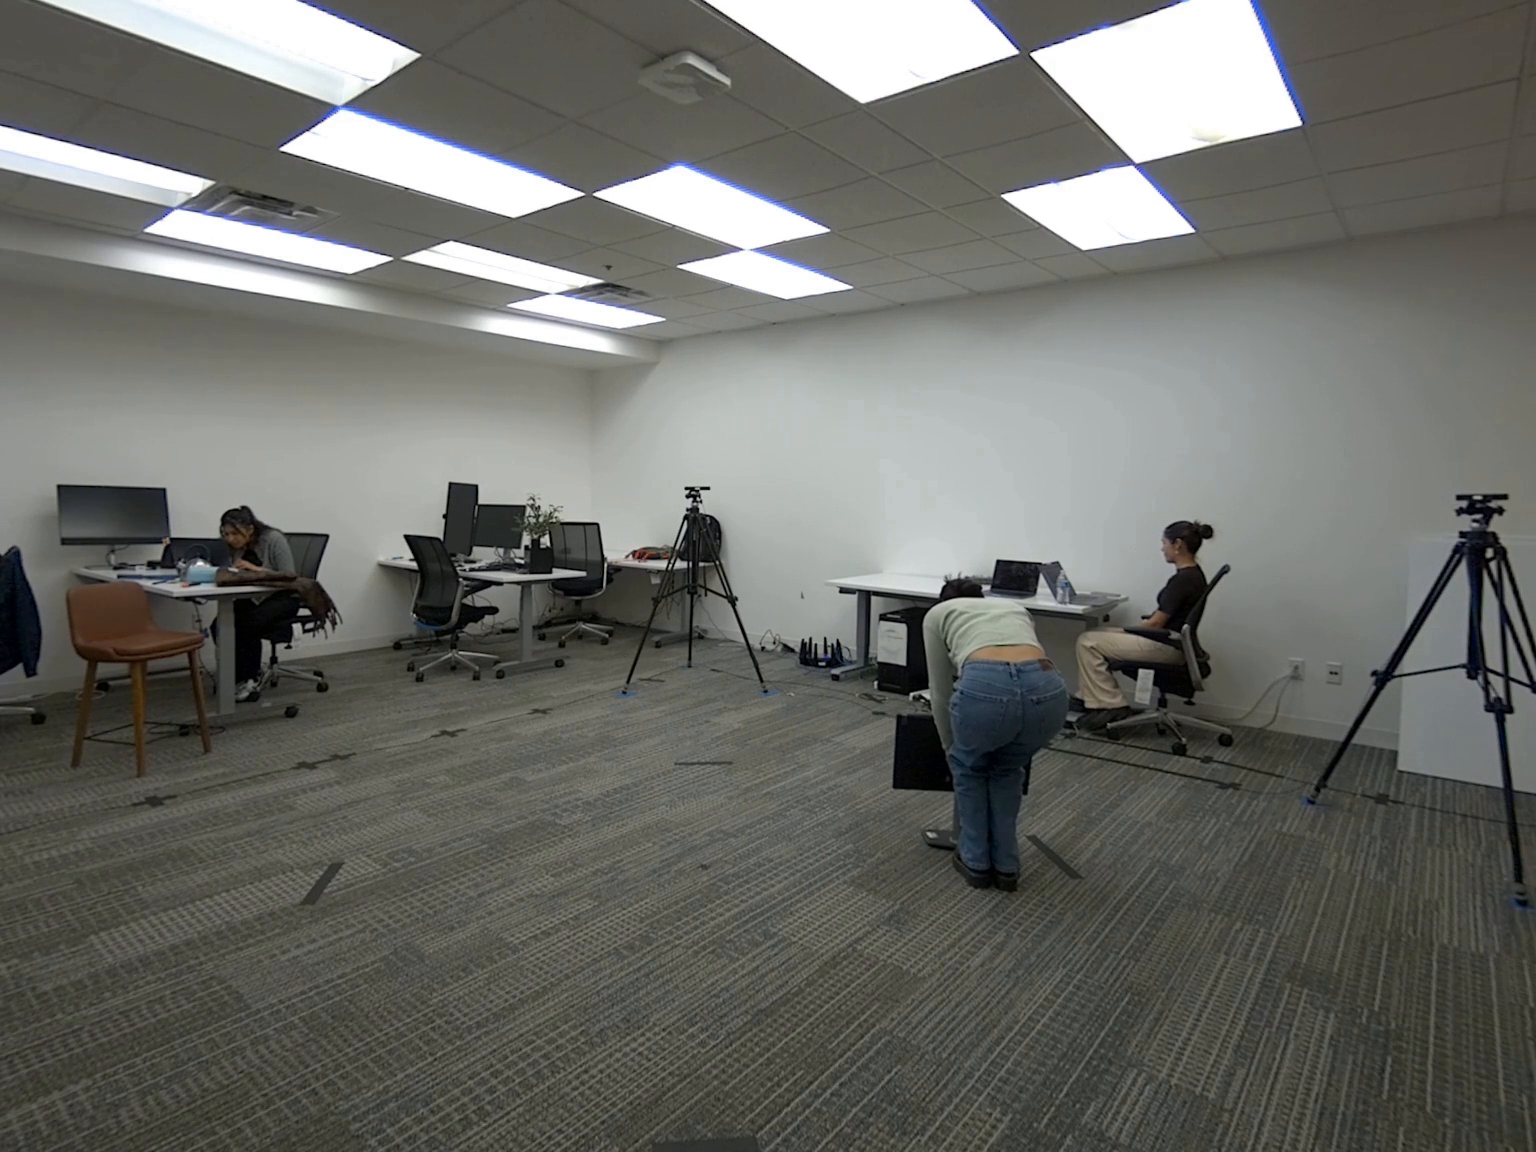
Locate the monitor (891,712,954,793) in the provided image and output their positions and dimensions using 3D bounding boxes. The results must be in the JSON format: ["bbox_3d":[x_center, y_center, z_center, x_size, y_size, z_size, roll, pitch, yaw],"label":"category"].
[{"bbox_3d":[0.765,0.784,3.361,0.533,0.515,0.174,0,1,5],"label":"monitor"}]
